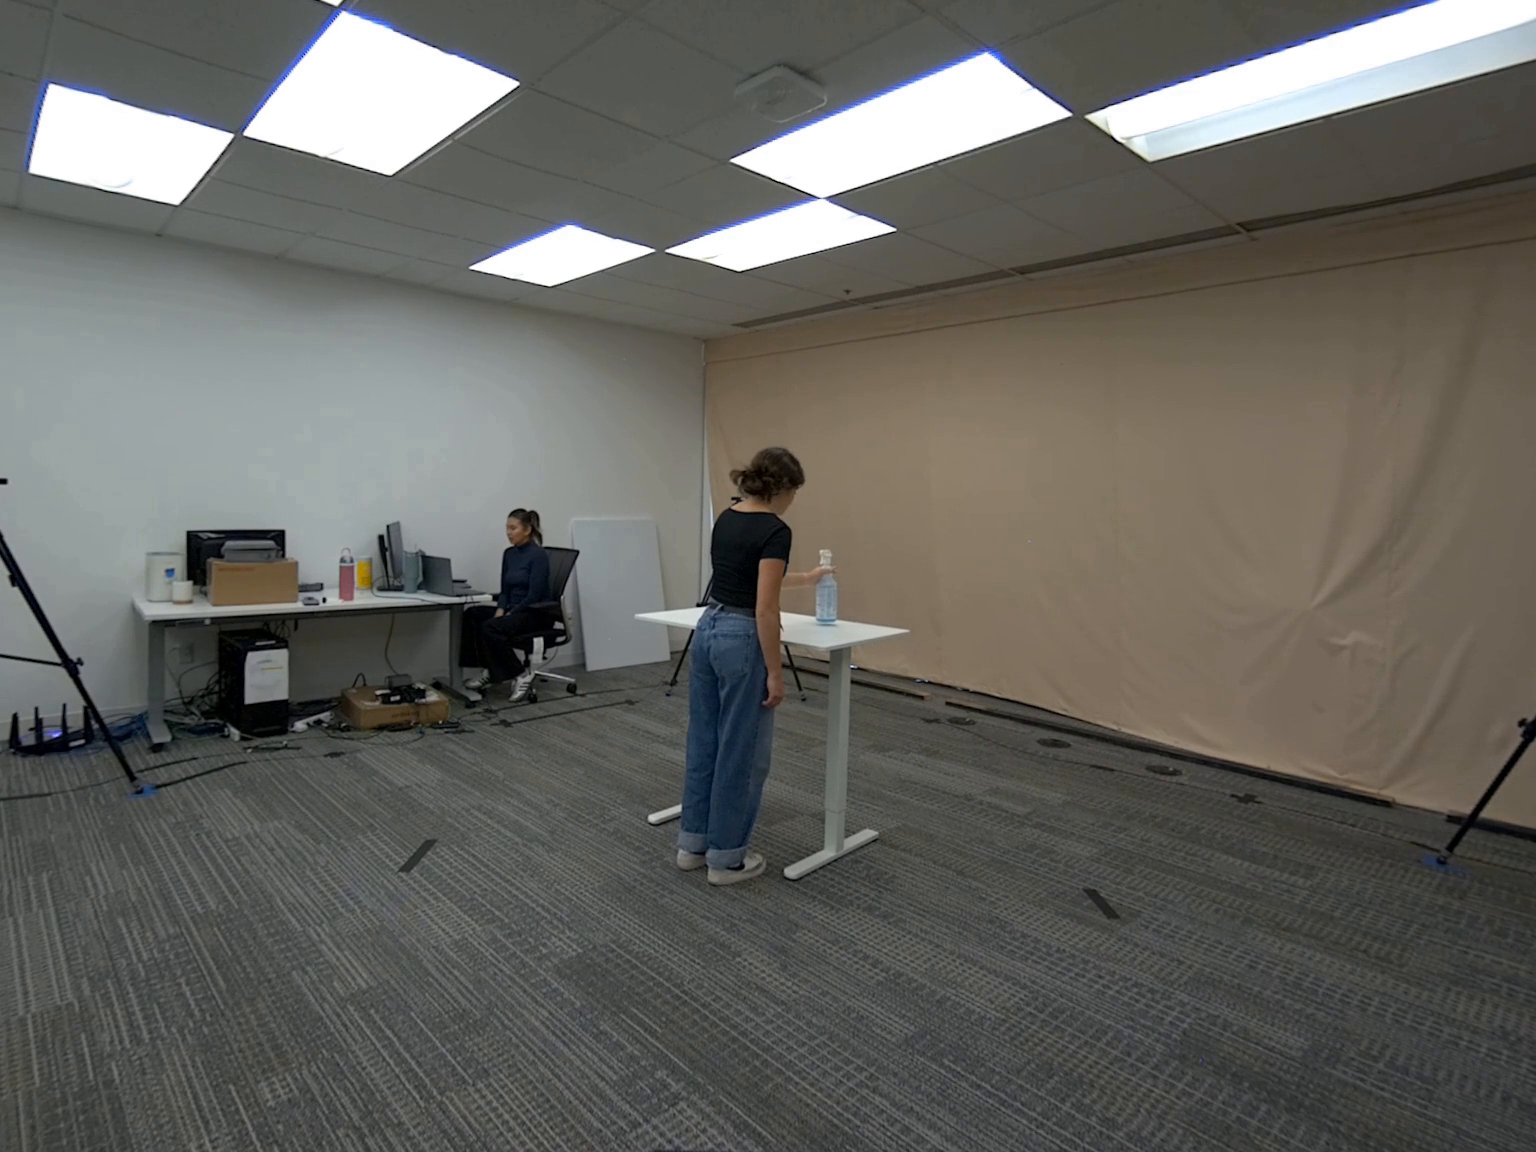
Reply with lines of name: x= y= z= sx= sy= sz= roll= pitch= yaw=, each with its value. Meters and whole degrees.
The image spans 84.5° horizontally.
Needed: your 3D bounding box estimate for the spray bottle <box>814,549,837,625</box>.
spray bottle: x=0.237 y=0.041 z=3.462 sx=0.088 sy=0.296 sz=0.089 roll=-6 pitch=7 yaw=-32
